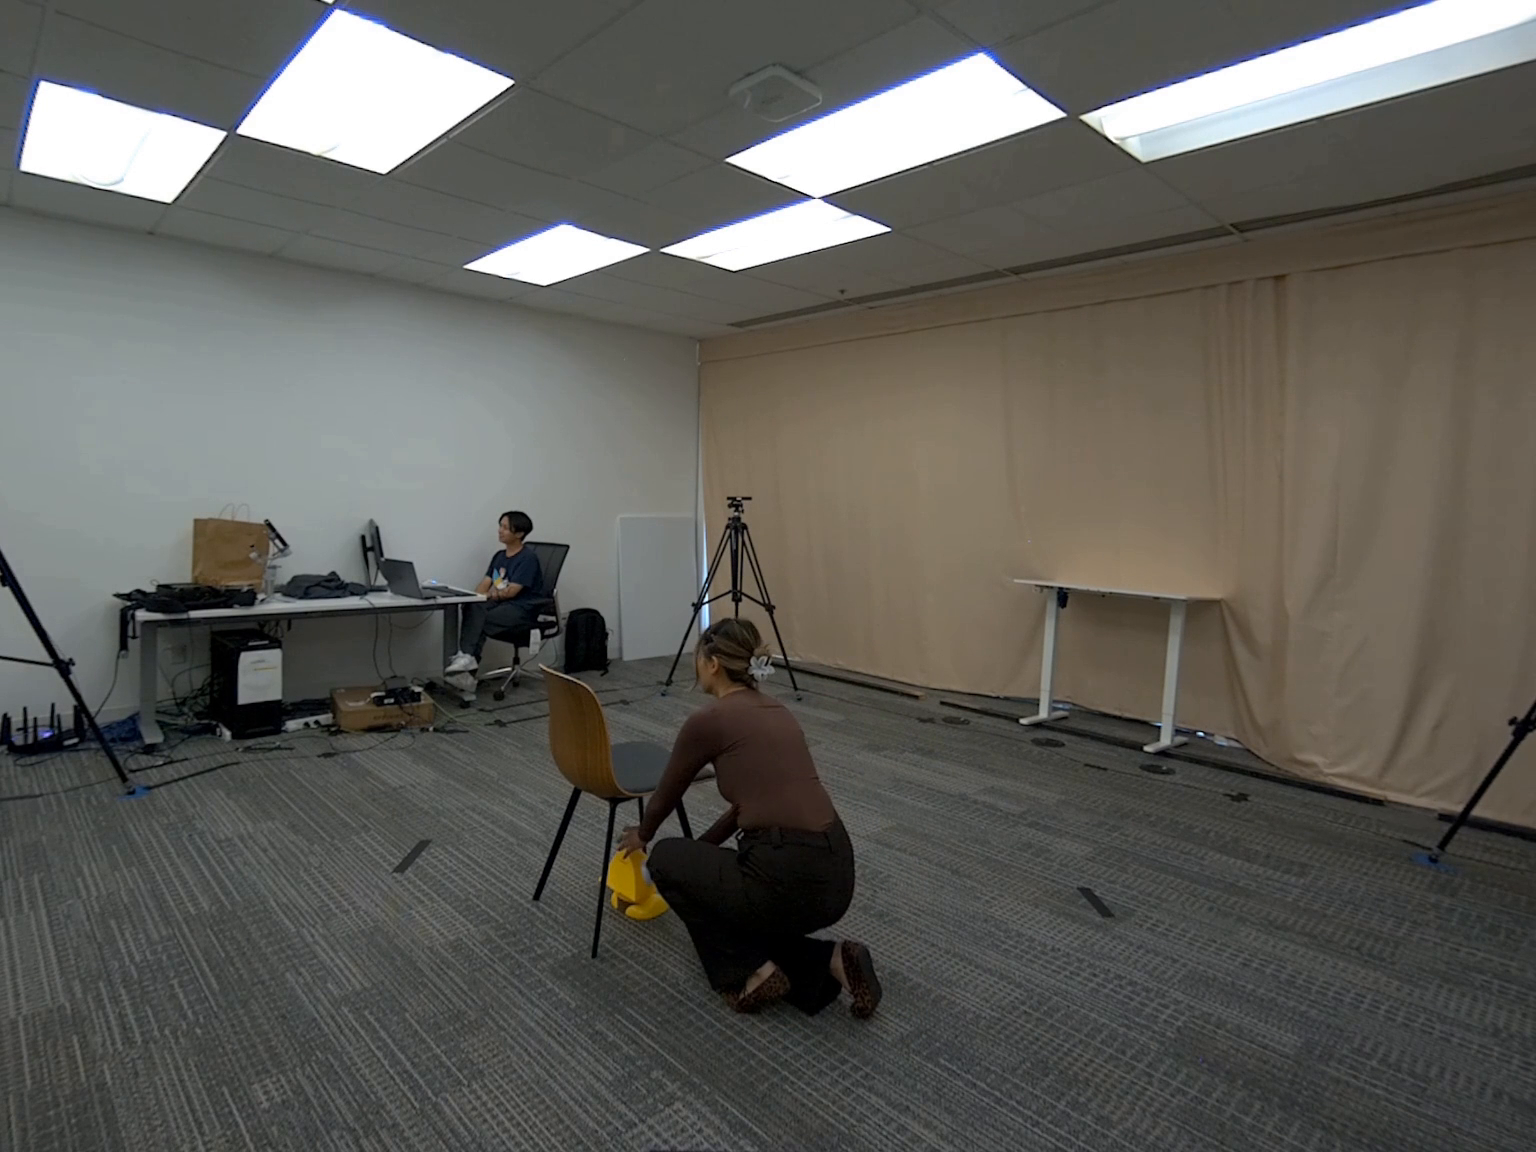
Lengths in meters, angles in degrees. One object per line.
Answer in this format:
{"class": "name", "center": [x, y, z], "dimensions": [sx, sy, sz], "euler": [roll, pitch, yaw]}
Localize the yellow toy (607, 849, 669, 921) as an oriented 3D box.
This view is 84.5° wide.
{"class": "yellow toy", "center": [-0.451, 1.010, 2.856], "dimensions": [0.189, 0.230, 0.210], "euler": [-3, 5, -44]}
